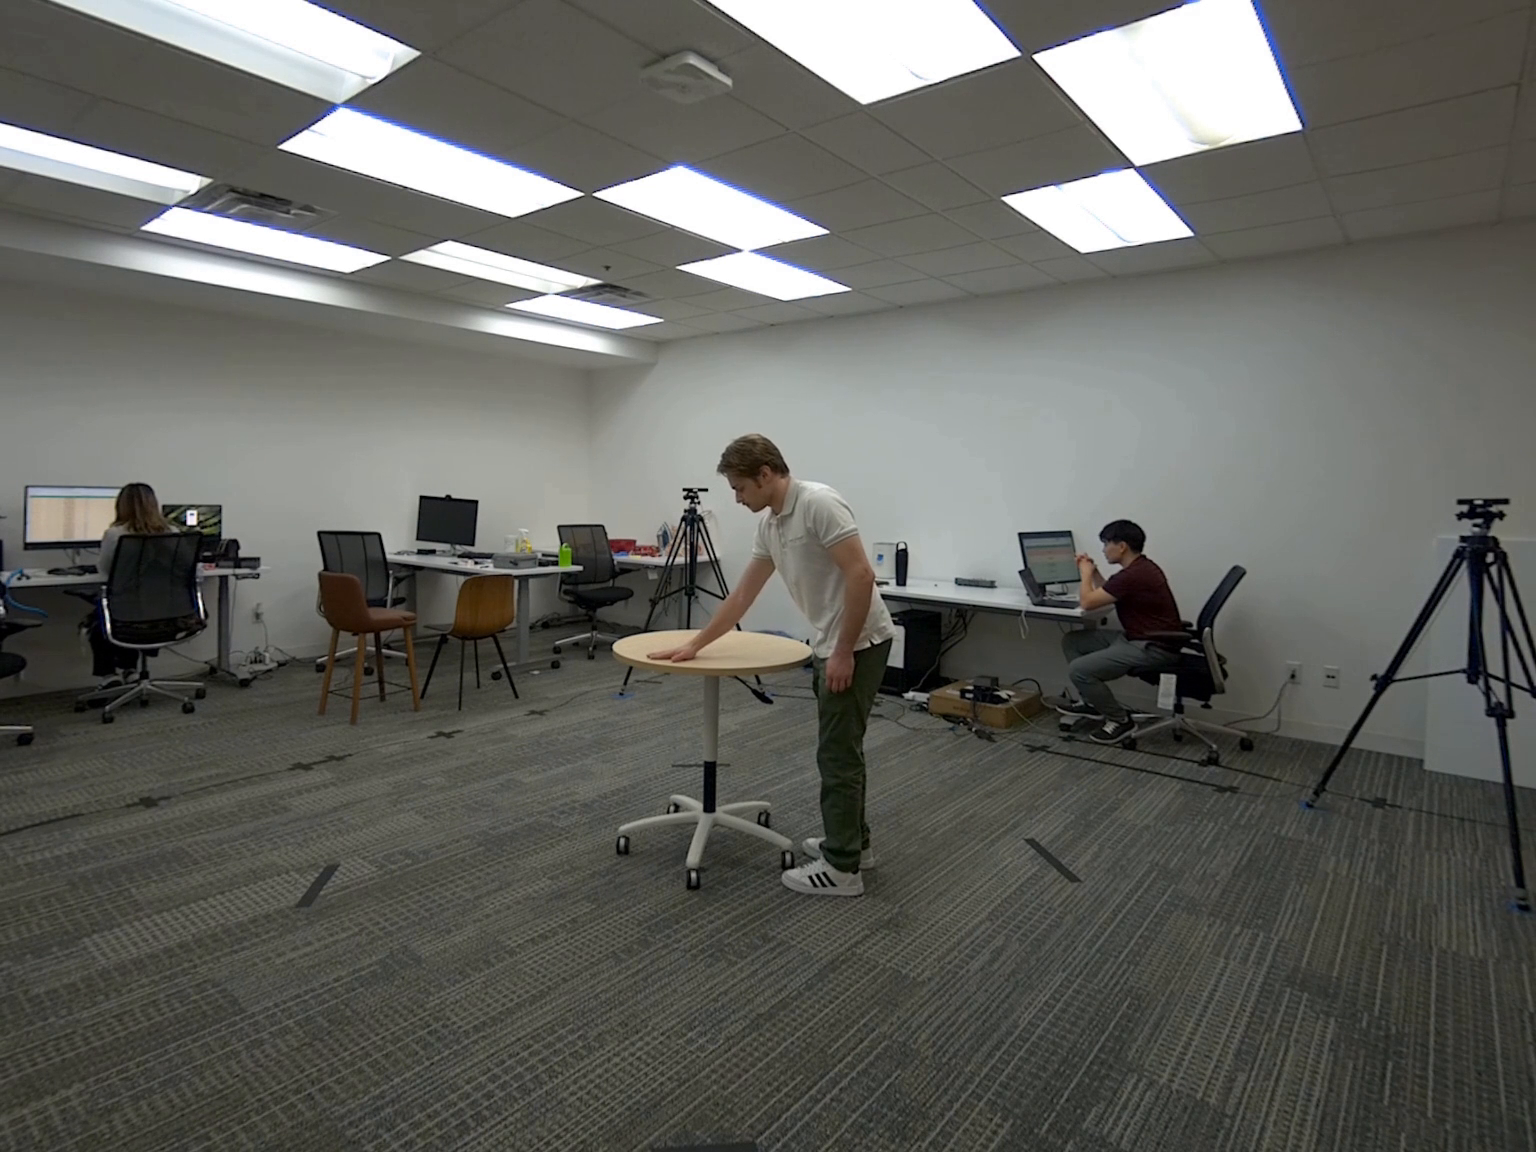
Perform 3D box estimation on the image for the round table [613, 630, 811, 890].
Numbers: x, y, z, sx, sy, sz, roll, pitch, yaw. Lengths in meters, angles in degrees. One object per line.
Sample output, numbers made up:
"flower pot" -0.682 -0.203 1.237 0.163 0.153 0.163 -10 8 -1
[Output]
"round table" -0.242 0.655 3.305 0.784 0.784 0.789 1 4 -2
